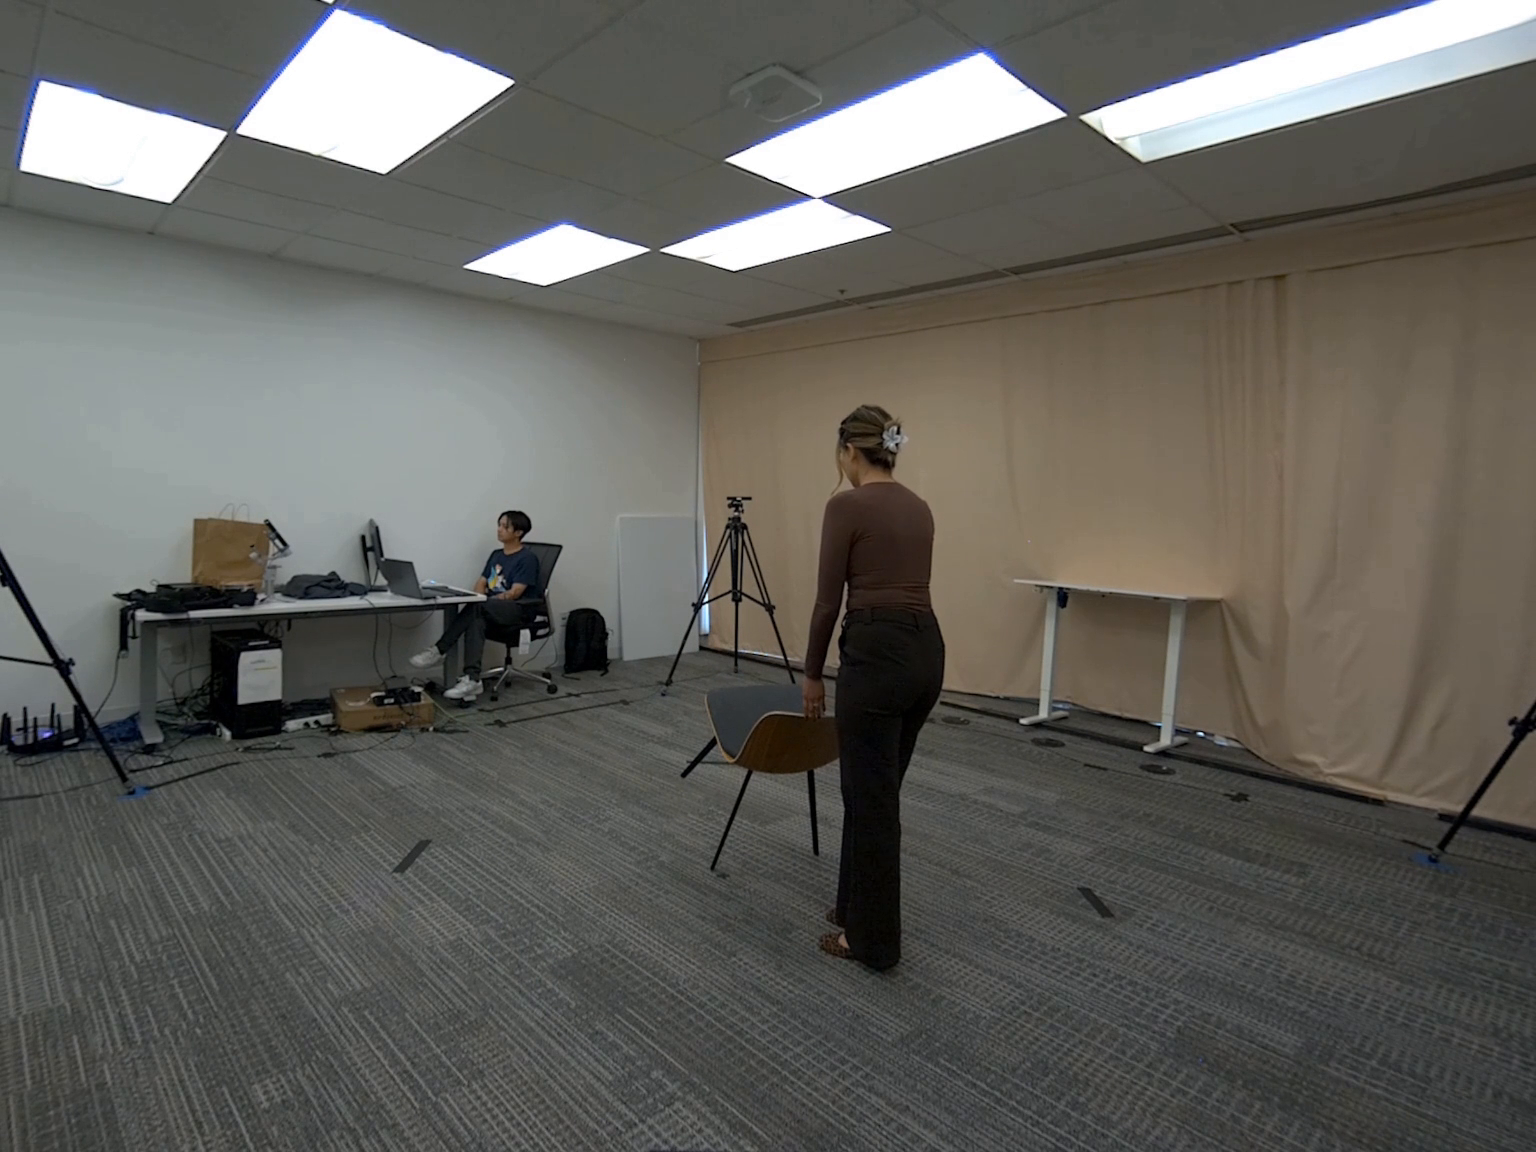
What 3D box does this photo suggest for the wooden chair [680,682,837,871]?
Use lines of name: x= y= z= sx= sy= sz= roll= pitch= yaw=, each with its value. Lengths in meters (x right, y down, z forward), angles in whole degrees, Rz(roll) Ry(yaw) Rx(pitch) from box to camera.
wooden chair: x=0.009 y=0.617 z=3.169 sx=0.470 sy=0.865 sz=0.539 roll=0 pitch=40 yaw=-23
